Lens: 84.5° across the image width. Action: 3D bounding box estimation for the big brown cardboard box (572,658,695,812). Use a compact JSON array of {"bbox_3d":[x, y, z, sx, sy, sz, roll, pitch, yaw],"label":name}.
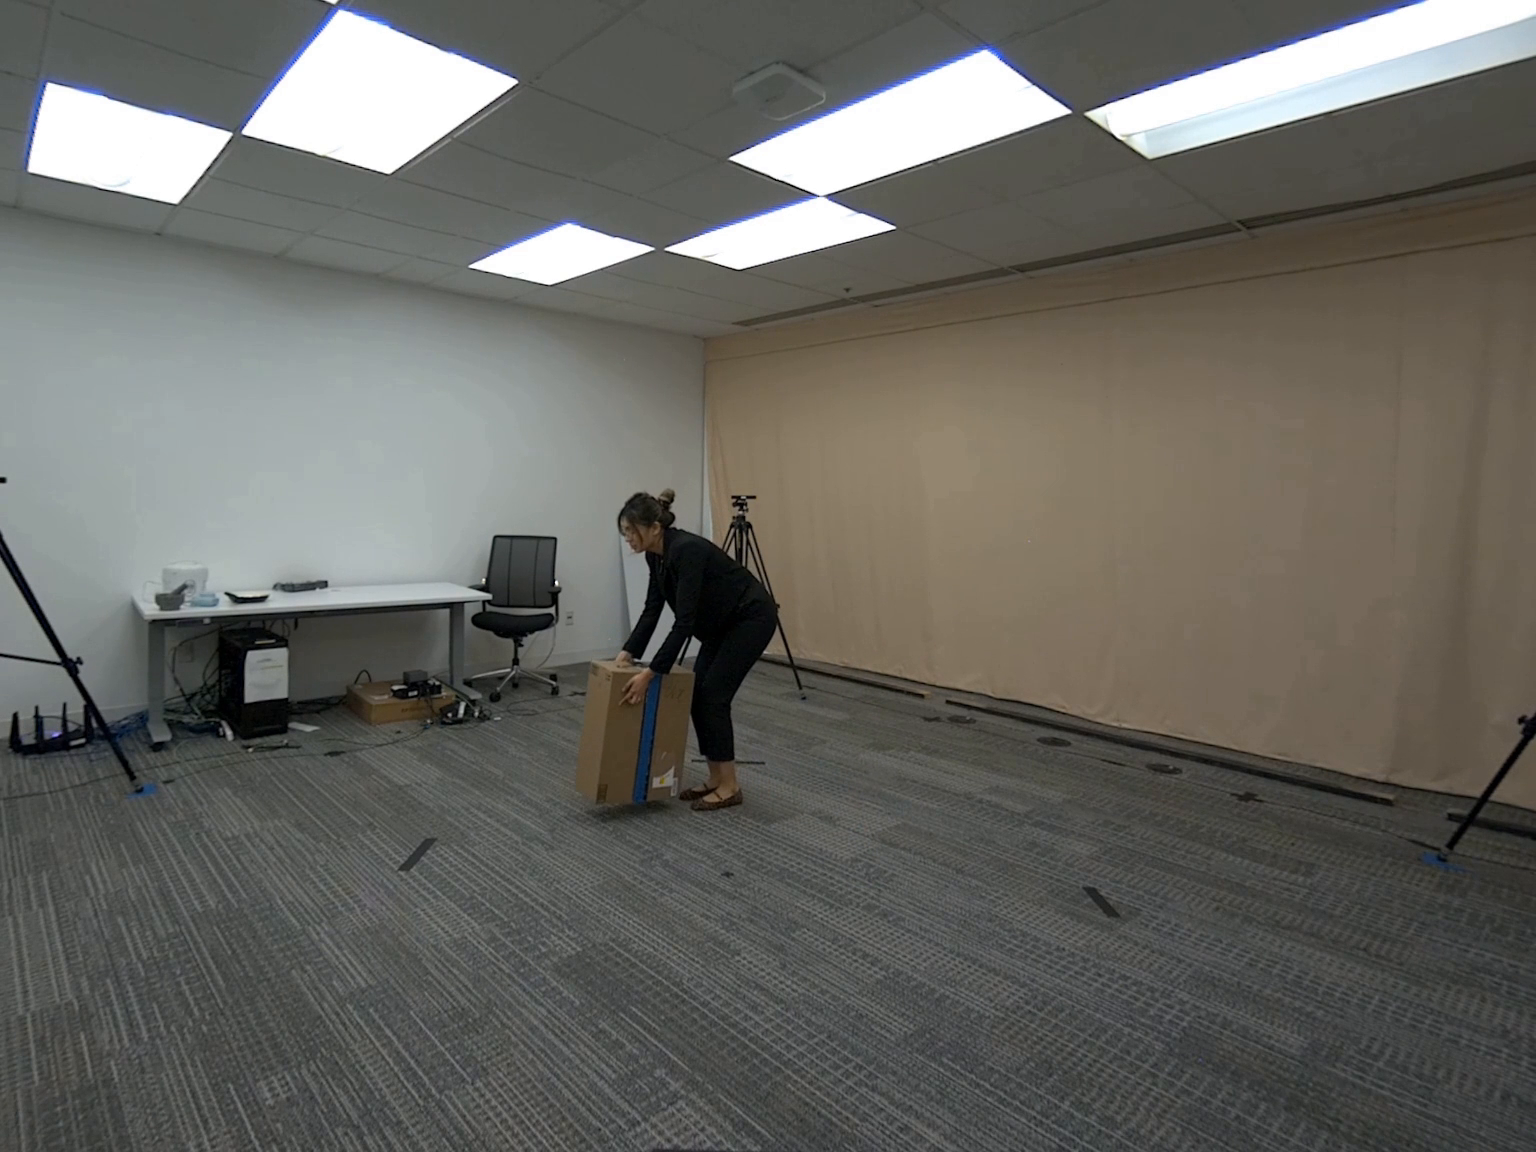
[{"bbox_3d":[-0.581,0.674,3.689,0.407,0.588,0.239,6,2,-35],"label":"big brown cardboard box"}]
